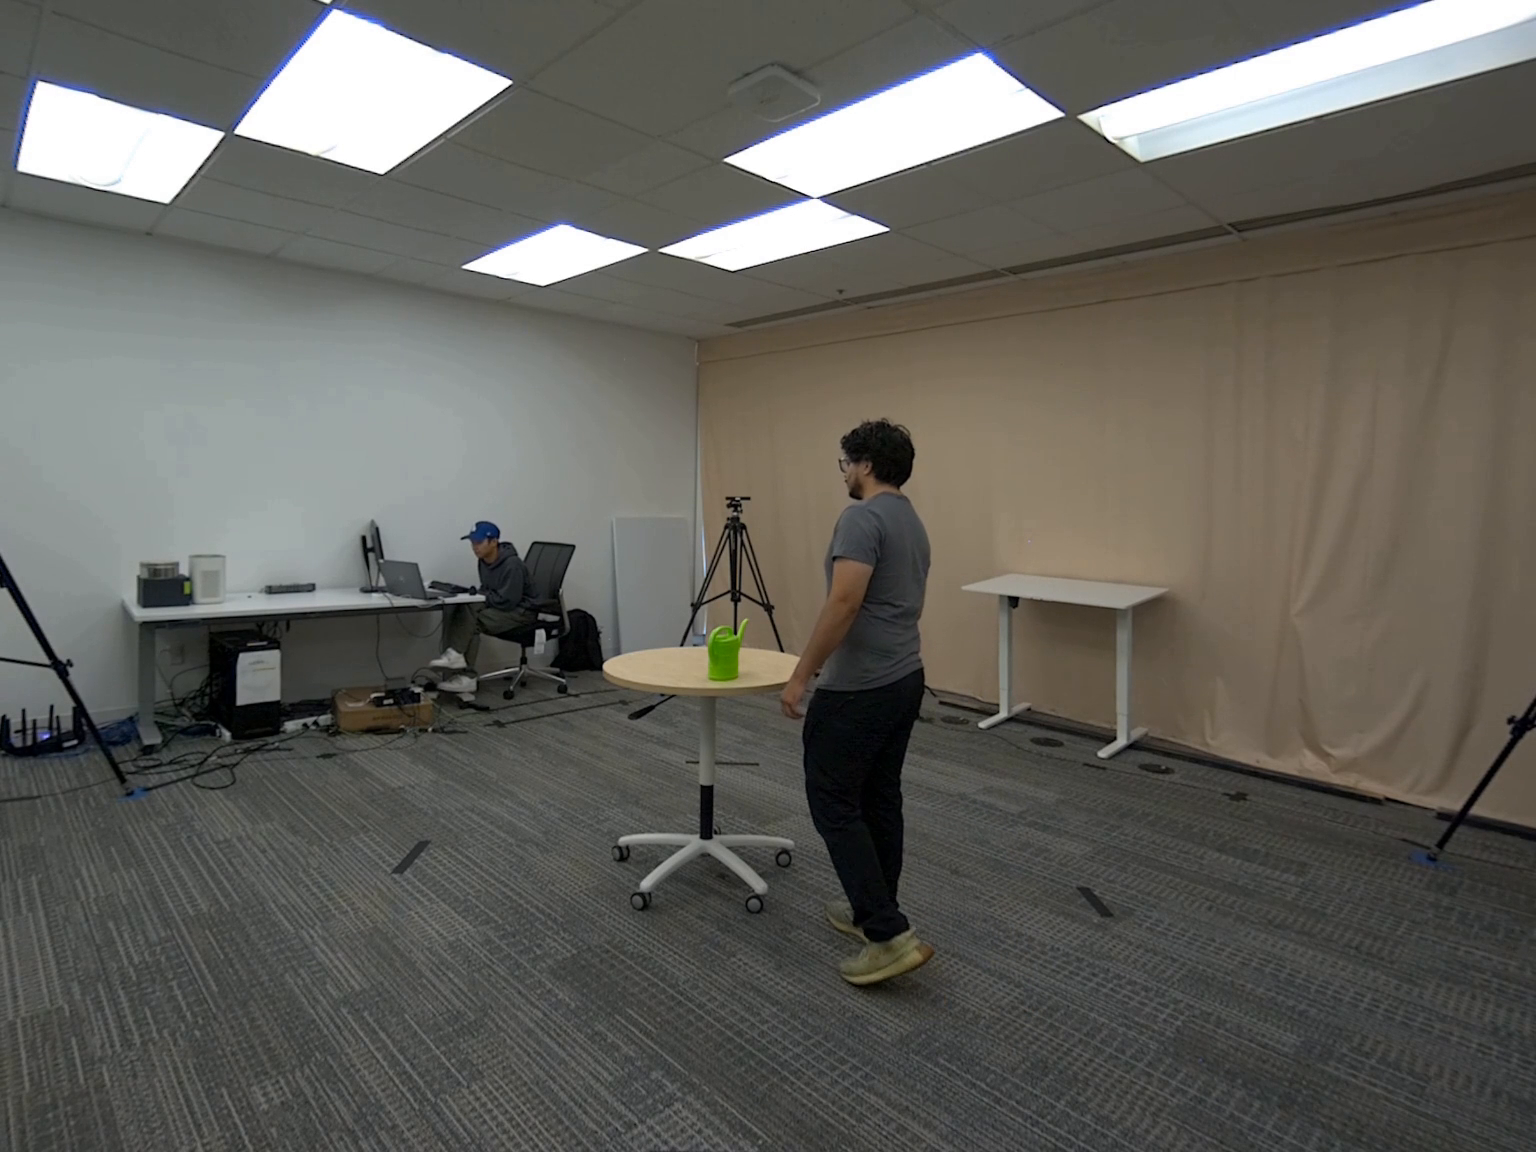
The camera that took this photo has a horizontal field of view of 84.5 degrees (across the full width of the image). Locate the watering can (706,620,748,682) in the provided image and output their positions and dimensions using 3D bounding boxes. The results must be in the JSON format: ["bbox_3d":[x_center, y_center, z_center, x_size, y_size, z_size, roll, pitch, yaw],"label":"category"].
[{"bbox_3d":[-0.122,0.254,2.878,0.100,0.176,0.273,3,7,37],"label":"watering can"}]
